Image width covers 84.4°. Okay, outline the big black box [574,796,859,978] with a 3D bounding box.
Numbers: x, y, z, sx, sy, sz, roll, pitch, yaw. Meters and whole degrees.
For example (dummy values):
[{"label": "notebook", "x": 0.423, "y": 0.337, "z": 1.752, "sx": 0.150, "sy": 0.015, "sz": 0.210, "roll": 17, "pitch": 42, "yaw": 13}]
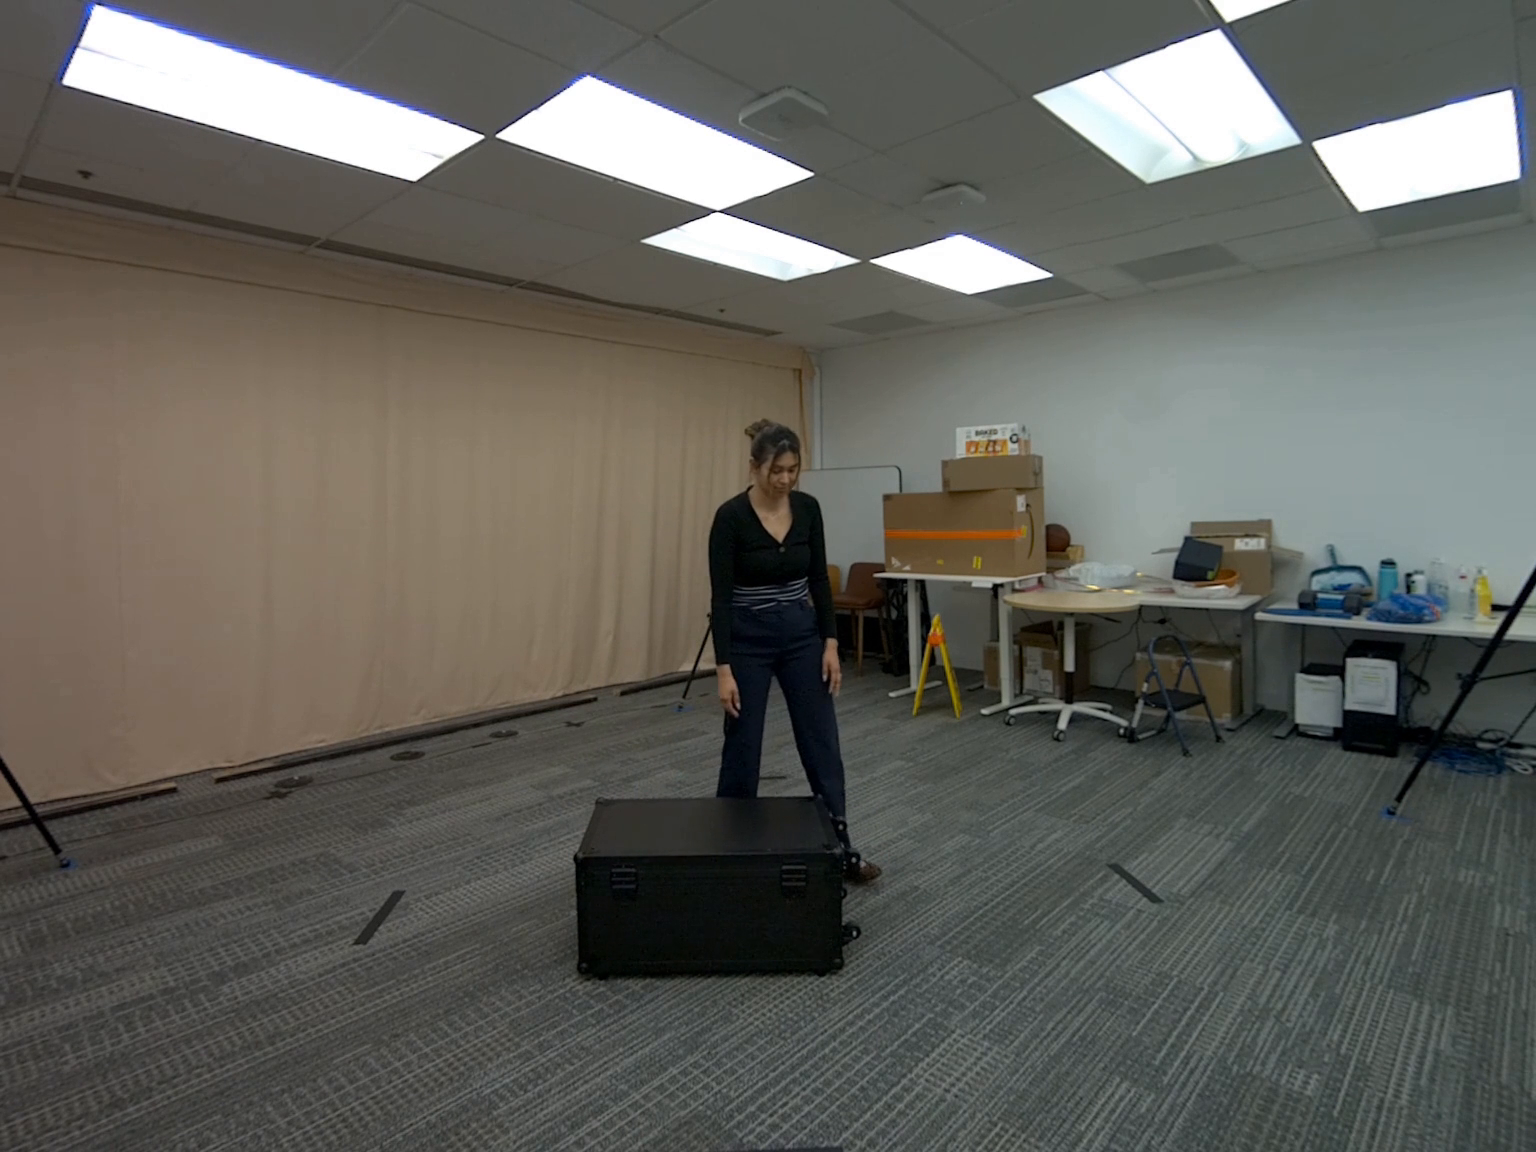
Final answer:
[{"label": "big black box", "x": -0.155, "y": 0.973, "z": 2.697, "sx": 0.861, "sy": 0.395, "sz": 0.523, "roll": -1, "pitch": 4, "yaw": -1}]
